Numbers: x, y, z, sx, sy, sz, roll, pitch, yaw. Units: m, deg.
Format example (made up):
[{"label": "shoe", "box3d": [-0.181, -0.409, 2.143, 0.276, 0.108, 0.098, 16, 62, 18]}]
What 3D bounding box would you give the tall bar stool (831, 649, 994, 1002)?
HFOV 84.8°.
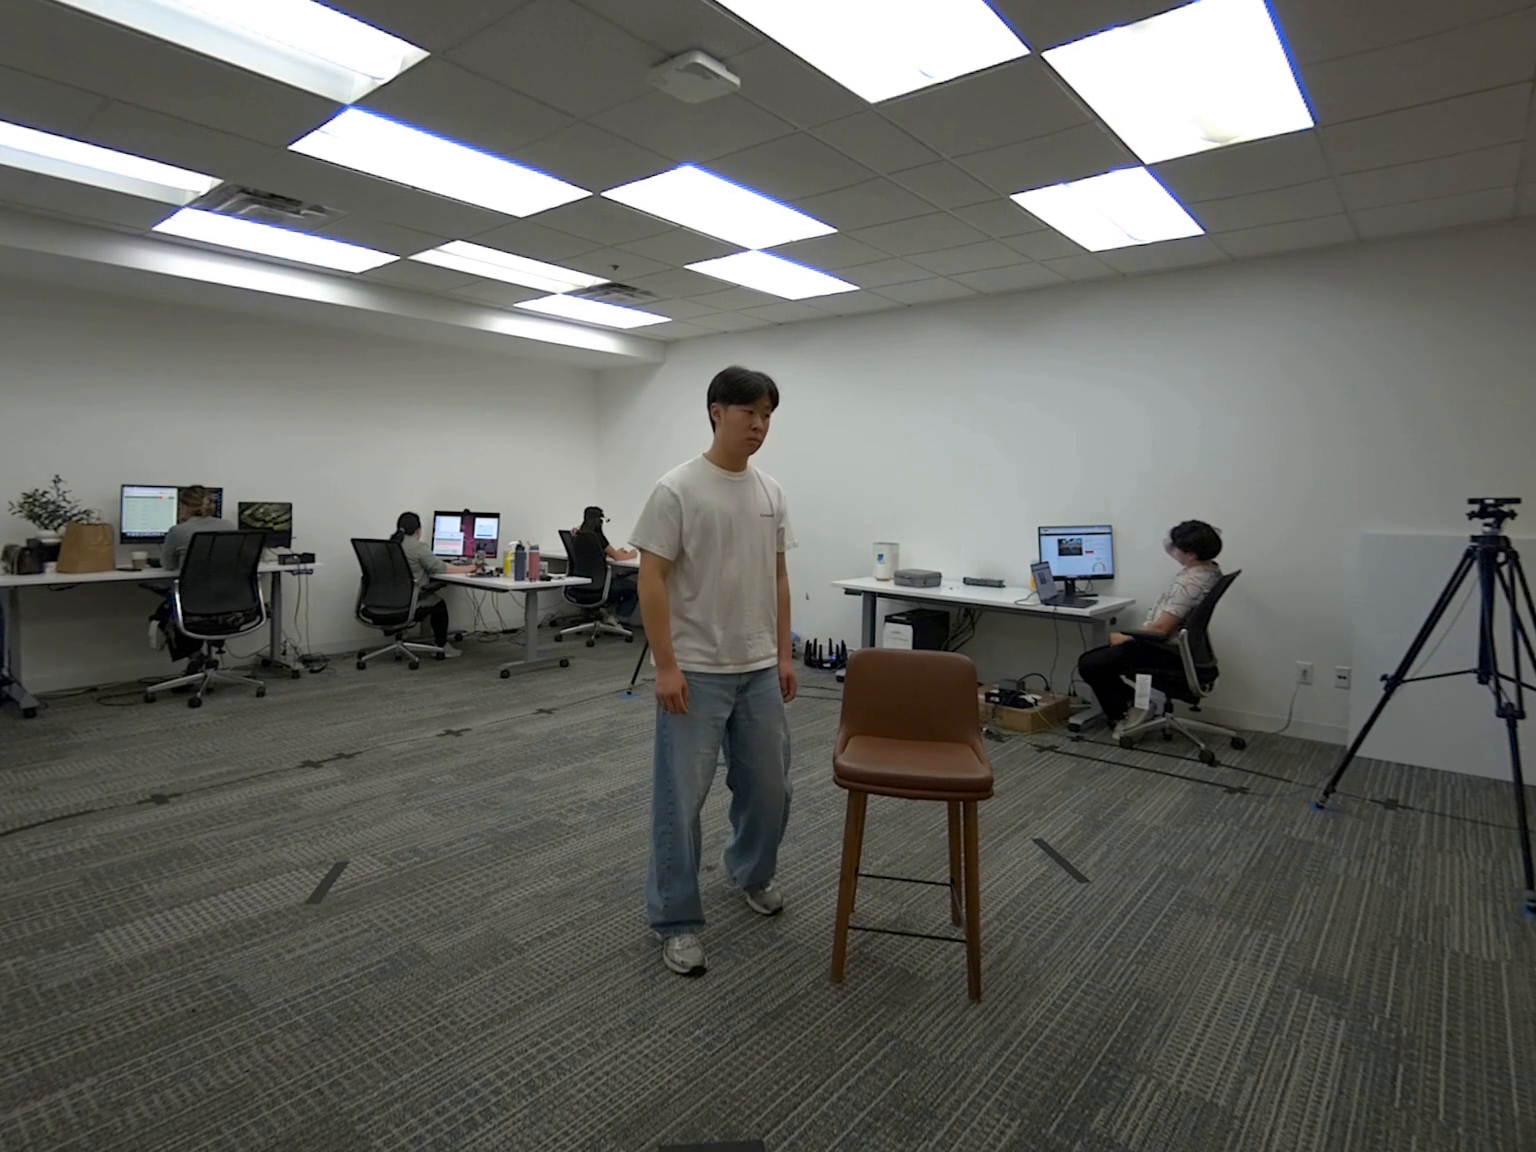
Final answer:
[{"label": "tall bar stool", "box3d": [0.421, 0.704, 2.560, 0.462, 0.888, 0.463, 3, 2, 10]}]
